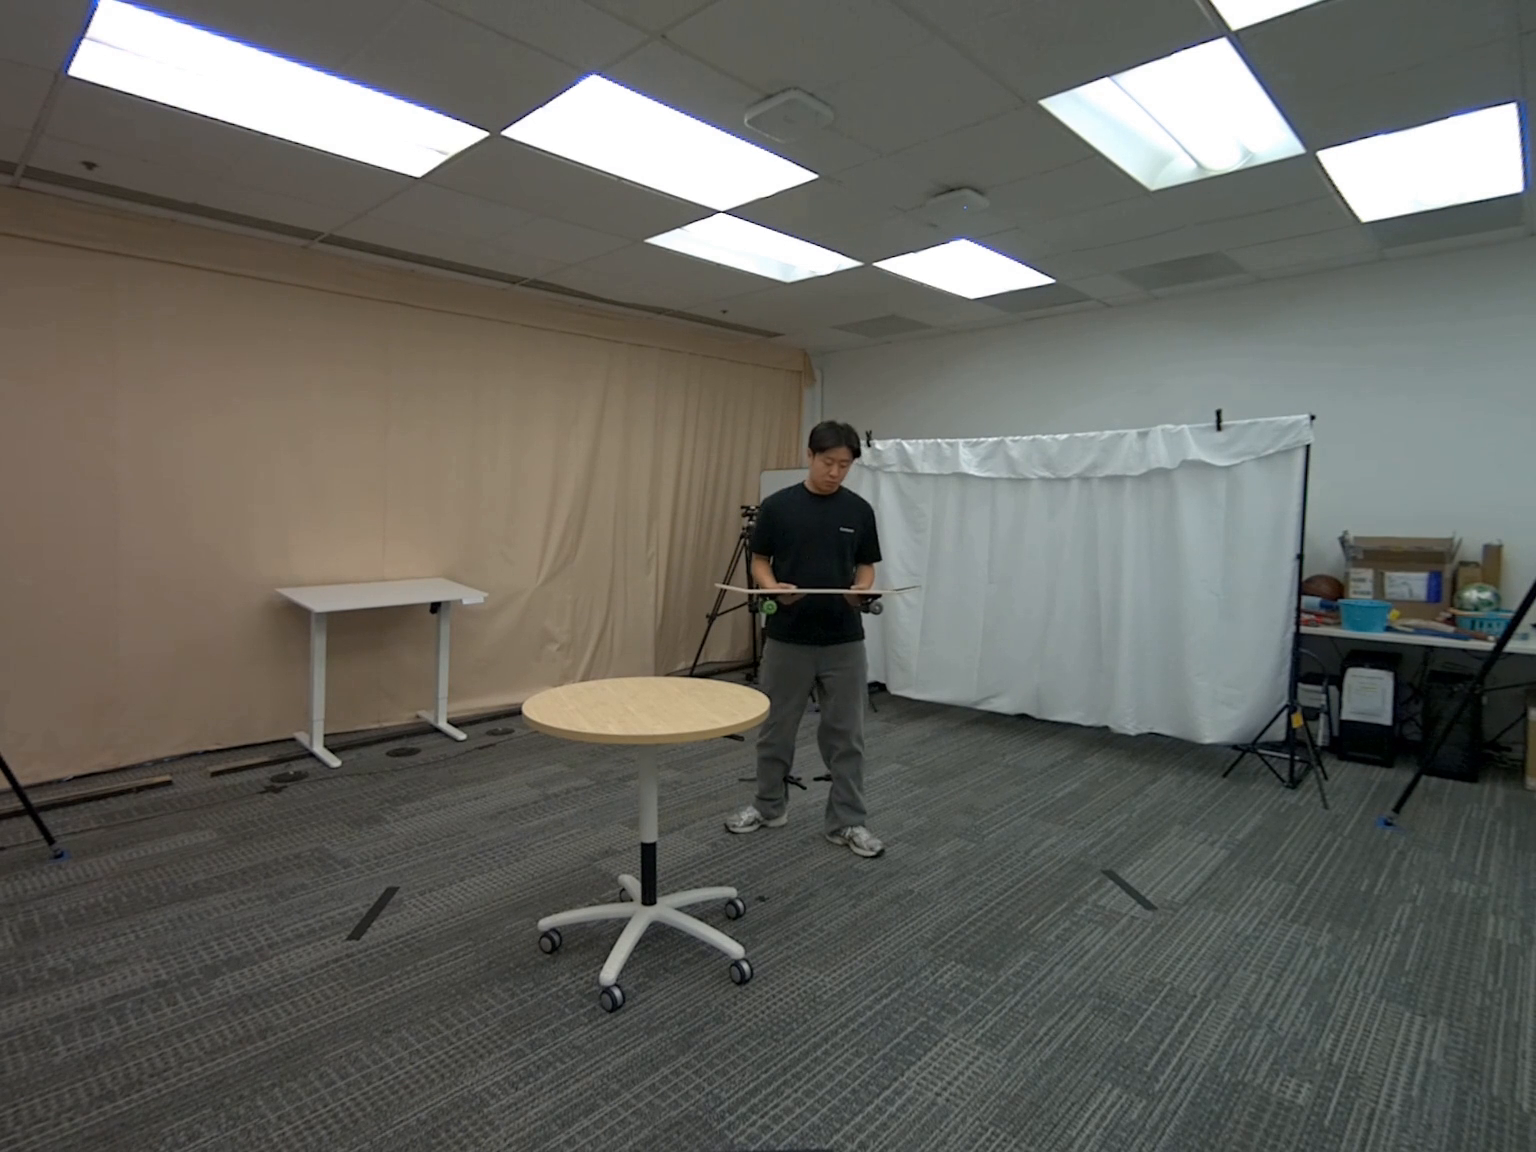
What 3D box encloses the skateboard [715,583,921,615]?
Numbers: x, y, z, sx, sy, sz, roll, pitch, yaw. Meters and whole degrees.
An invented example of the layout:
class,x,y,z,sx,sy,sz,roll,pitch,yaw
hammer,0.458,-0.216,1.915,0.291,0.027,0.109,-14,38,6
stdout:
class,x,y,z,sx,sy,sz,roll,pitch,yaw
skateboard,0.221,0.097,3.187,0.781,0.110,0.194,0,-1,-5
